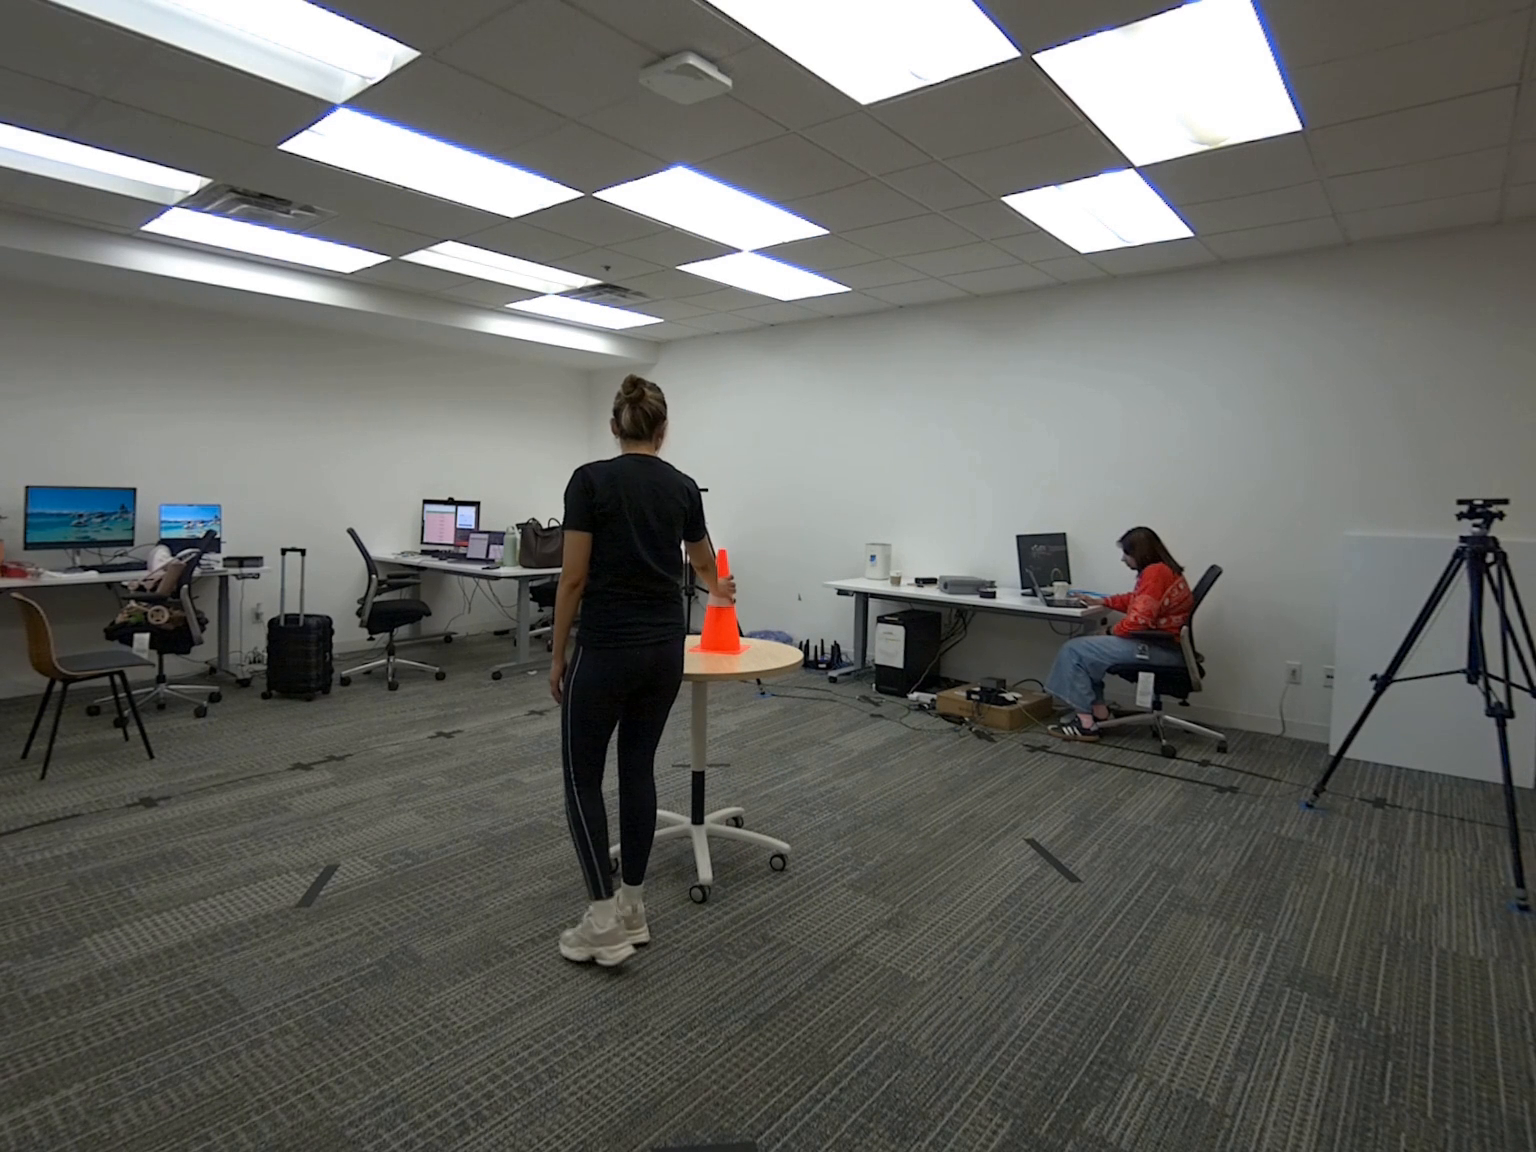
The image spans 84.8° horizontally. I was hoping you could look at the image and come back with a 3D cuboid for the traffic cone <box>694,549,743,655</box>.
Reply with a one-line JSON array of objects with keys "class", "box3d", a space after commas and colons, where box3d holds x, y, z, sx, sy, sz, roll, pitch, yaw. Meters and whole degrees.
[{"class": "traffic cone", "box3d": [-0.193, 0.085, 3.225, 0.207, 0.382, 0.202, 1, 5, 19]}]
